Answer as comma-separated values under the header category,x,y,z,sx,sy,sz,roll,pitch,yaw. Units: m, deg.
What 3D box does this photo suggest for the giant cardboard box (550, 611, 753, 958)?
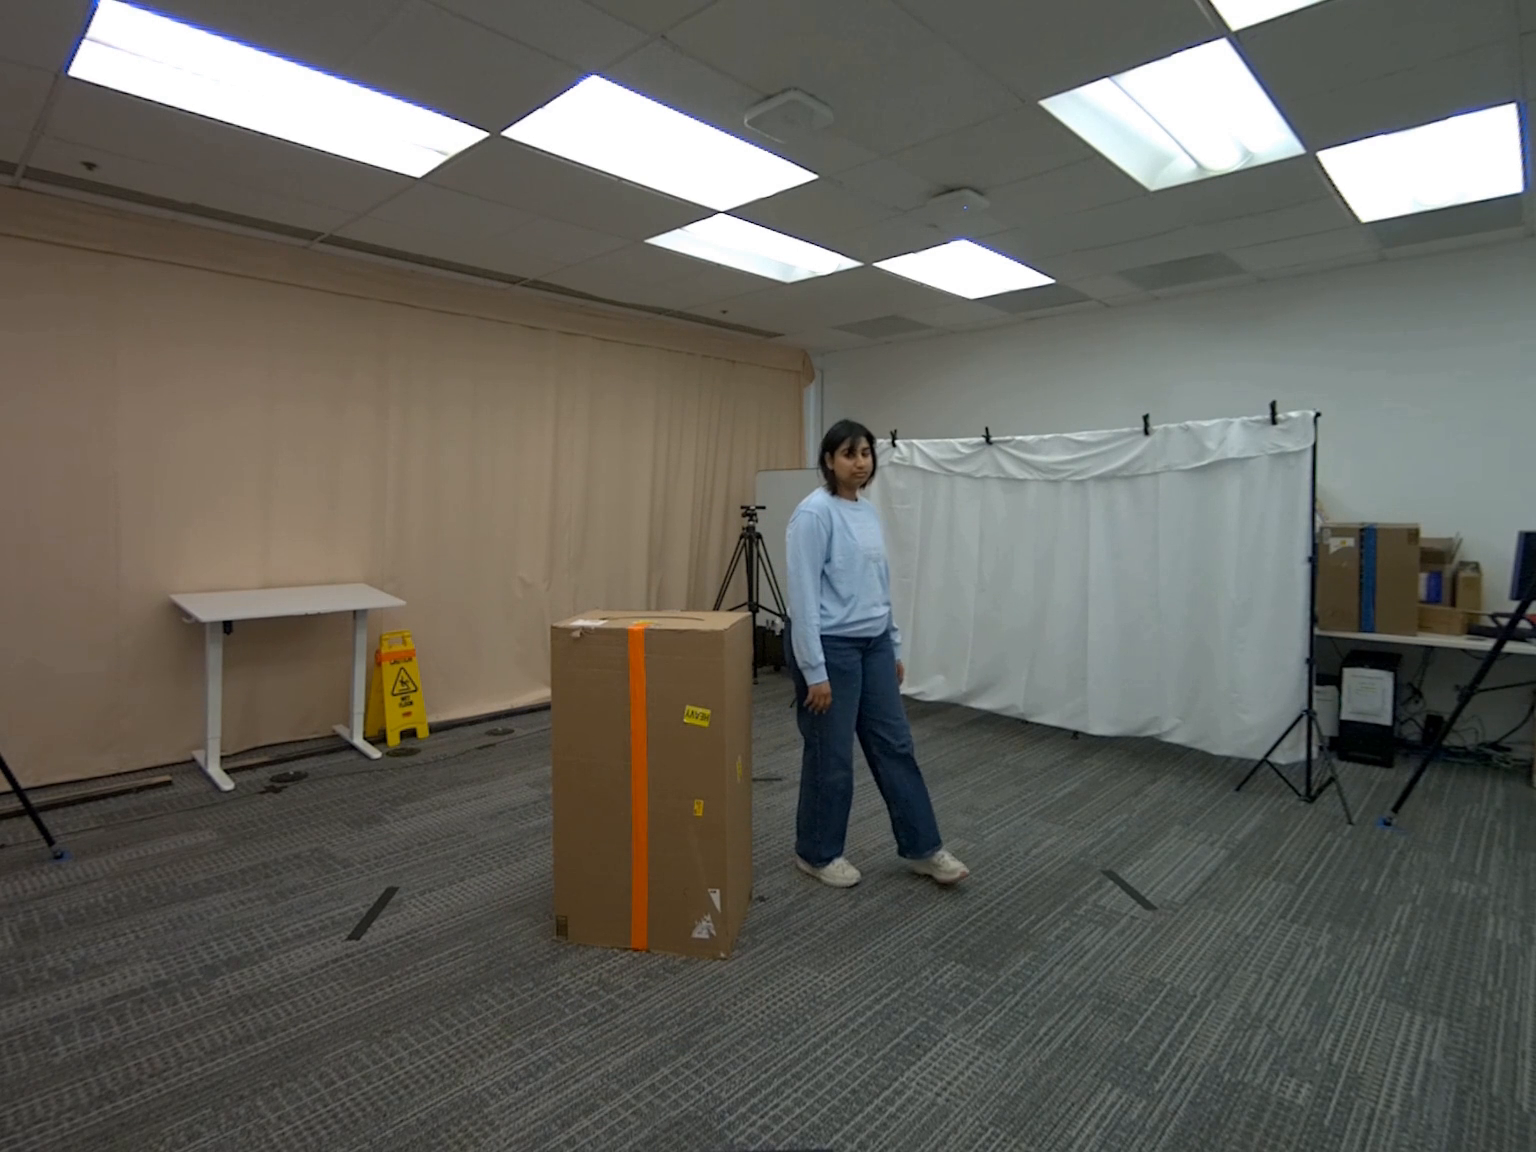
category,x,y,z,sx,sy,sz,roll,pitch,yaw
giant cardboard box,-0.369,0.651,2.816,0.585,1.024,0.422,0,3,11
